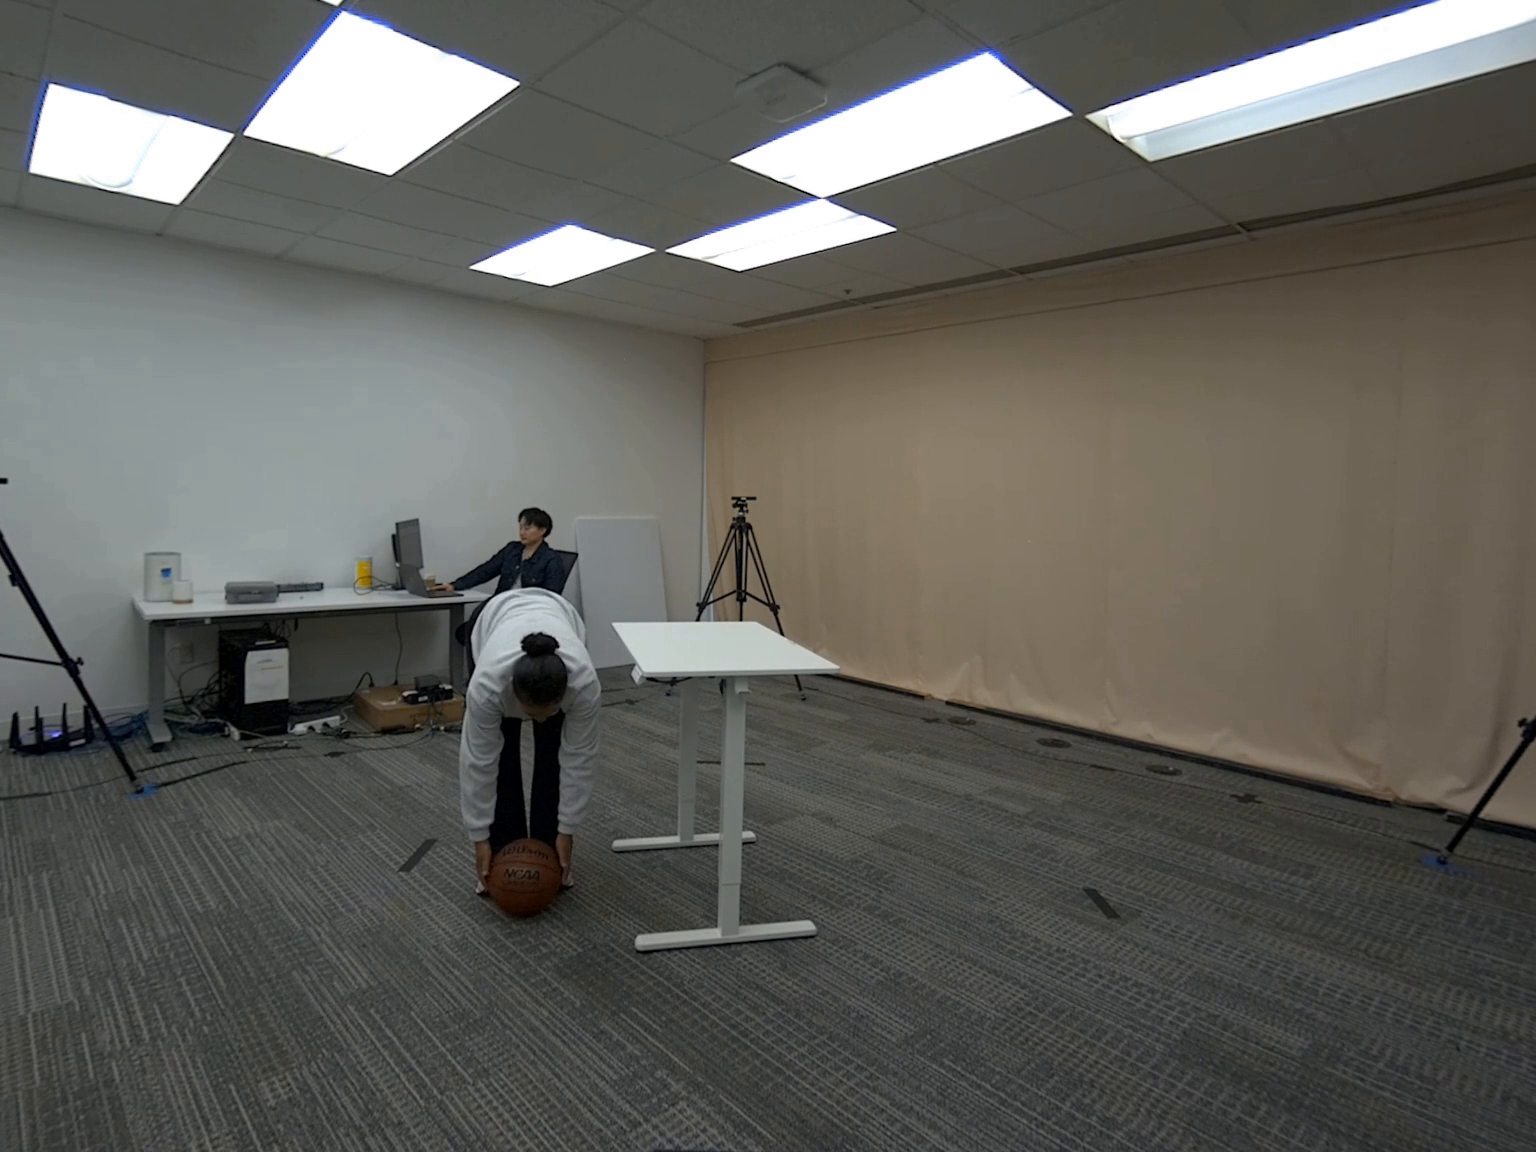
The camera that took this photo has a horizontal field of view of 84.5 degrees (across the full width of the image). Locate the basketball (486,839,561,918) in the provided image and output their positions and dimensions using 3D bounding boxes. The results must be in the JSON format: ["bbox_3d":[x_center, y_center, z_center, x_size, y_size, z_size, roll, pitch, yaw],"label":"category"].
[{"bbox_3d":[-0.824,1.000,2.797,0.236,0.235,0.237,1,4,-1],"label":"basketball"}]
